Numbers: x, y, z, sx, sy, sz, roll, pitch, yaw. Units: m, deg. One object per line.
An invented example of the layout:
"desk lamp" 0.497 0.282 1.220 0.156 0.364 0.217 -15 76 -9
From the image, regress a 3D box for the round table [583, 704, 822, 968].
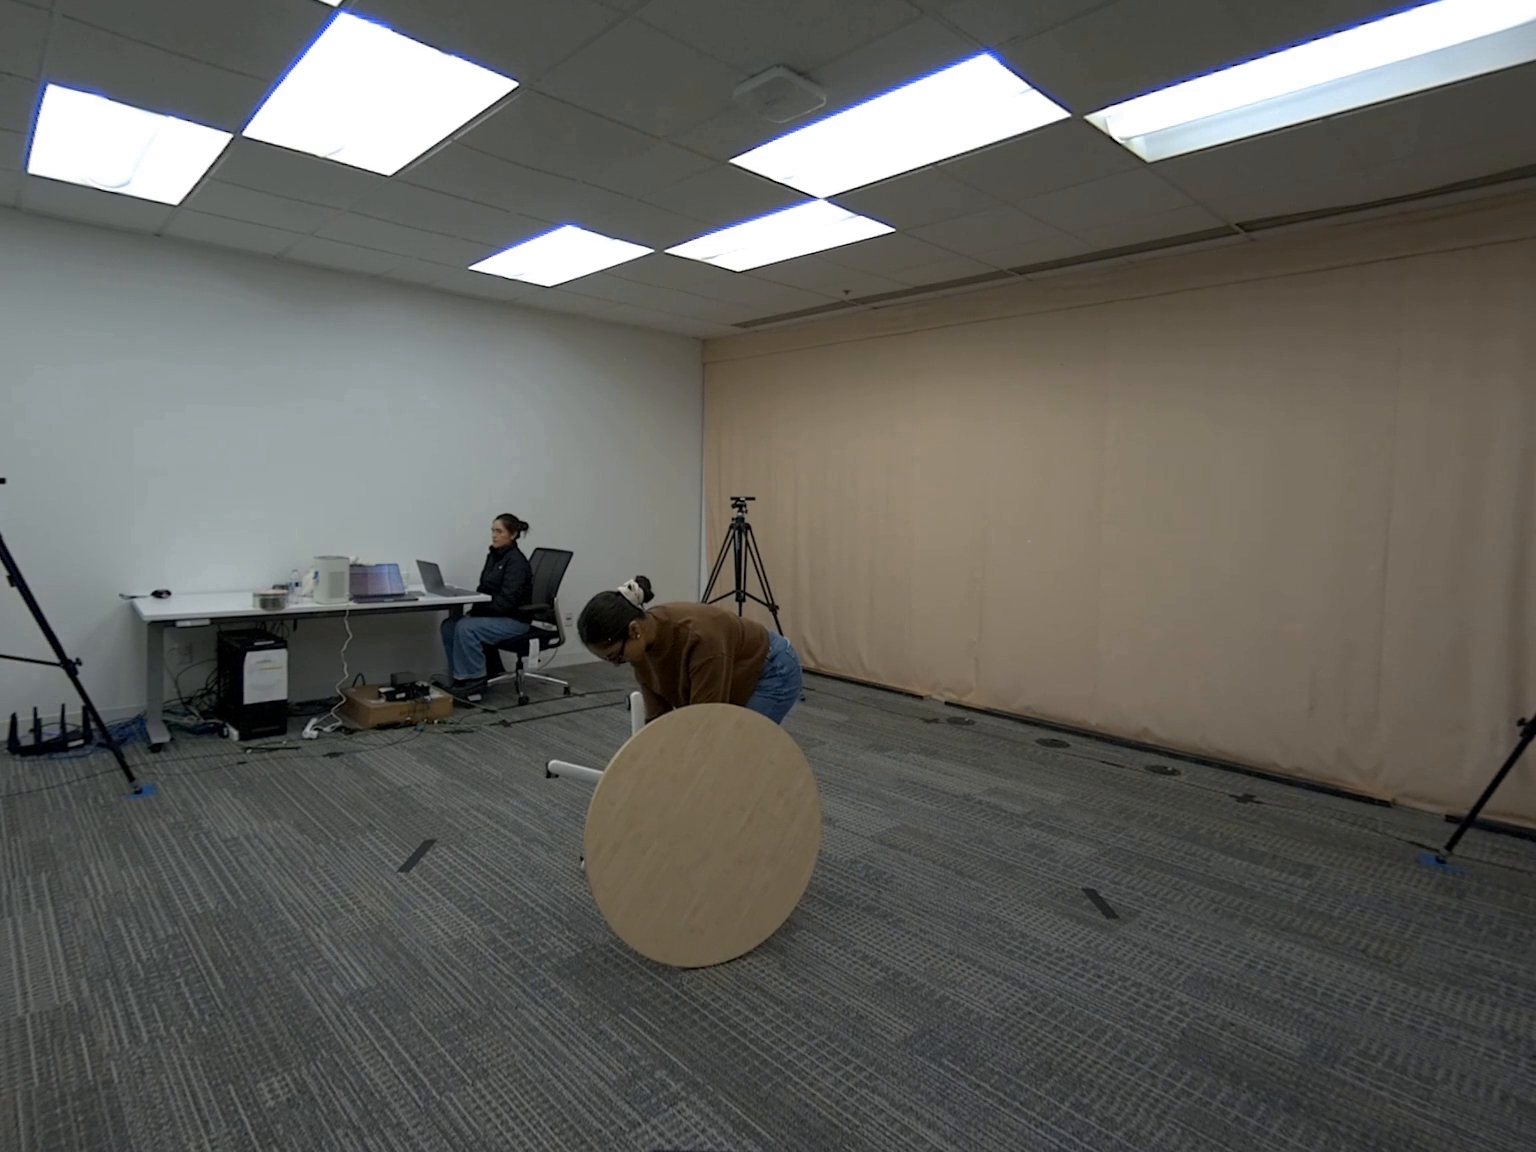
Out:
"round table" -0.359 0.782 2.883 0.750 0.765 0.807 -1 -2 -26
